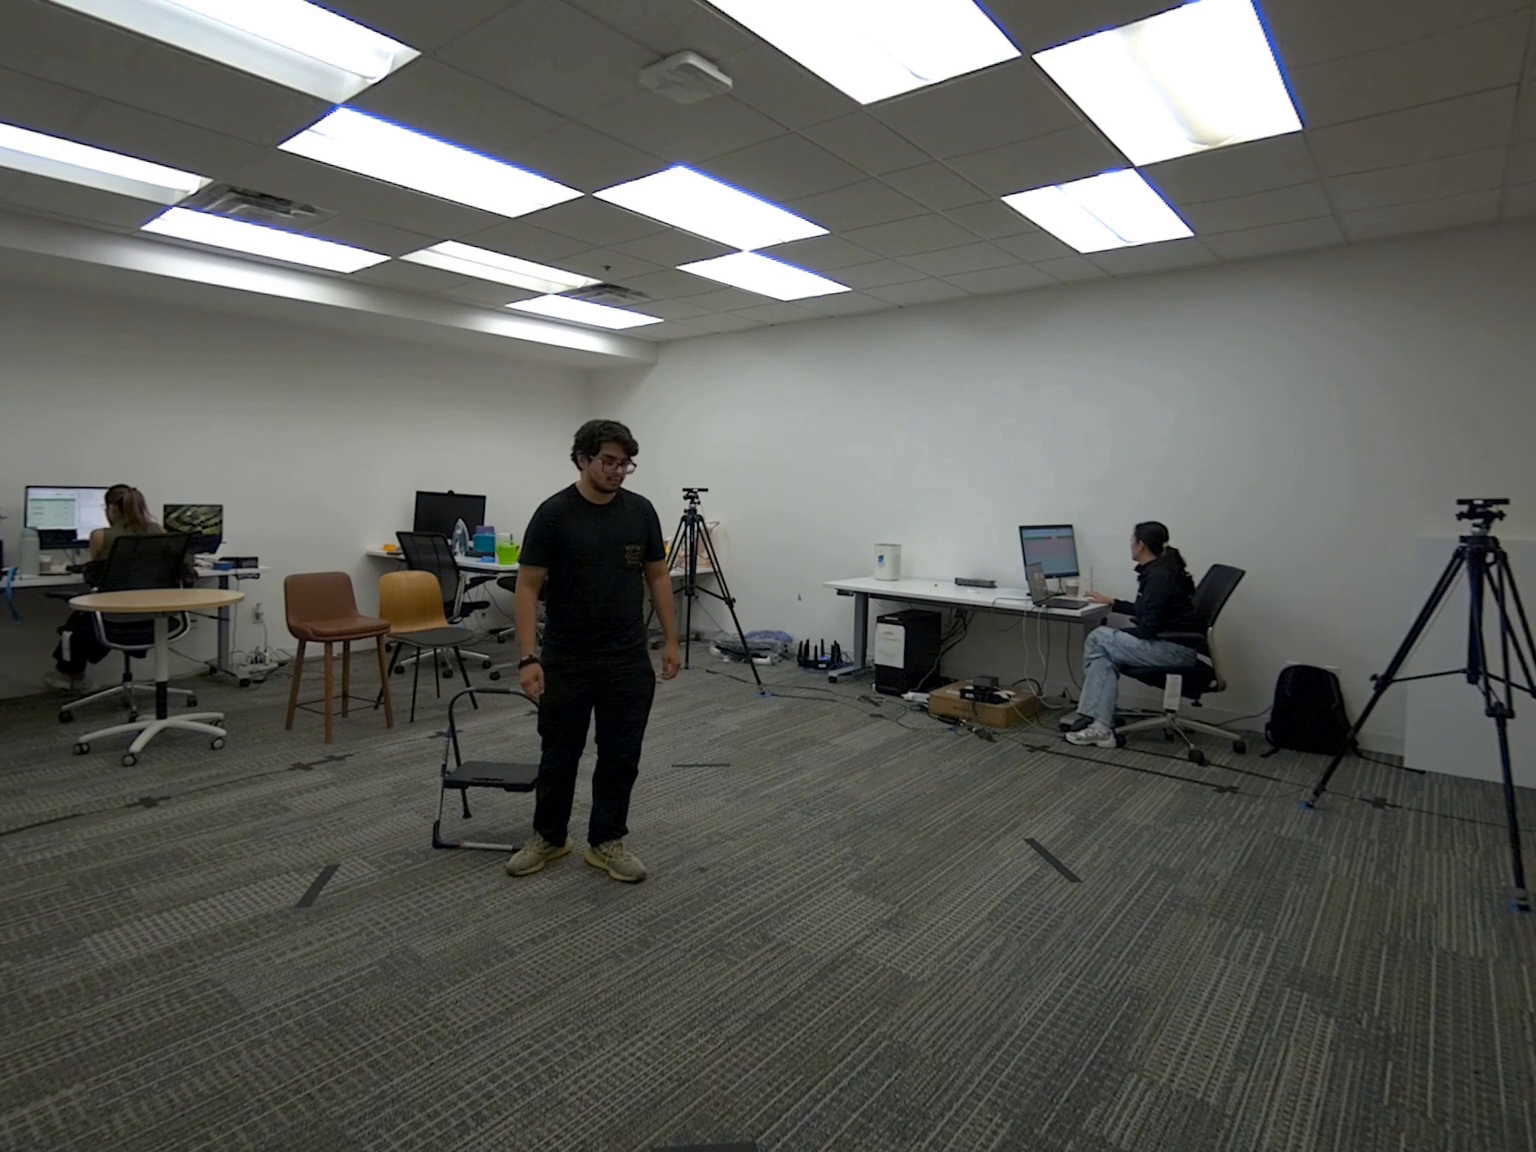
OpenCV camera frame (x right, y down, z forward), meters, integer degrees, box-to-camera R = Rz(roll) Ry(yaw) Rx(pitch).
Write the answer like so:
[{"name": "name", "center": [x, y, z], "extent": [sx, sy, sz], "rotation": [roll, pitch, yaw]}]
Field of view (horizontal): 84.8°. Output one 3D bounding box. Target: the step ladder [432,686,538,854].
[{"name": "step ladder", "center": [-1.085, 0.727, 3.383], "extent": [0.433, 0.604, 0.348], "rotation": [1, 3, 4]}]
